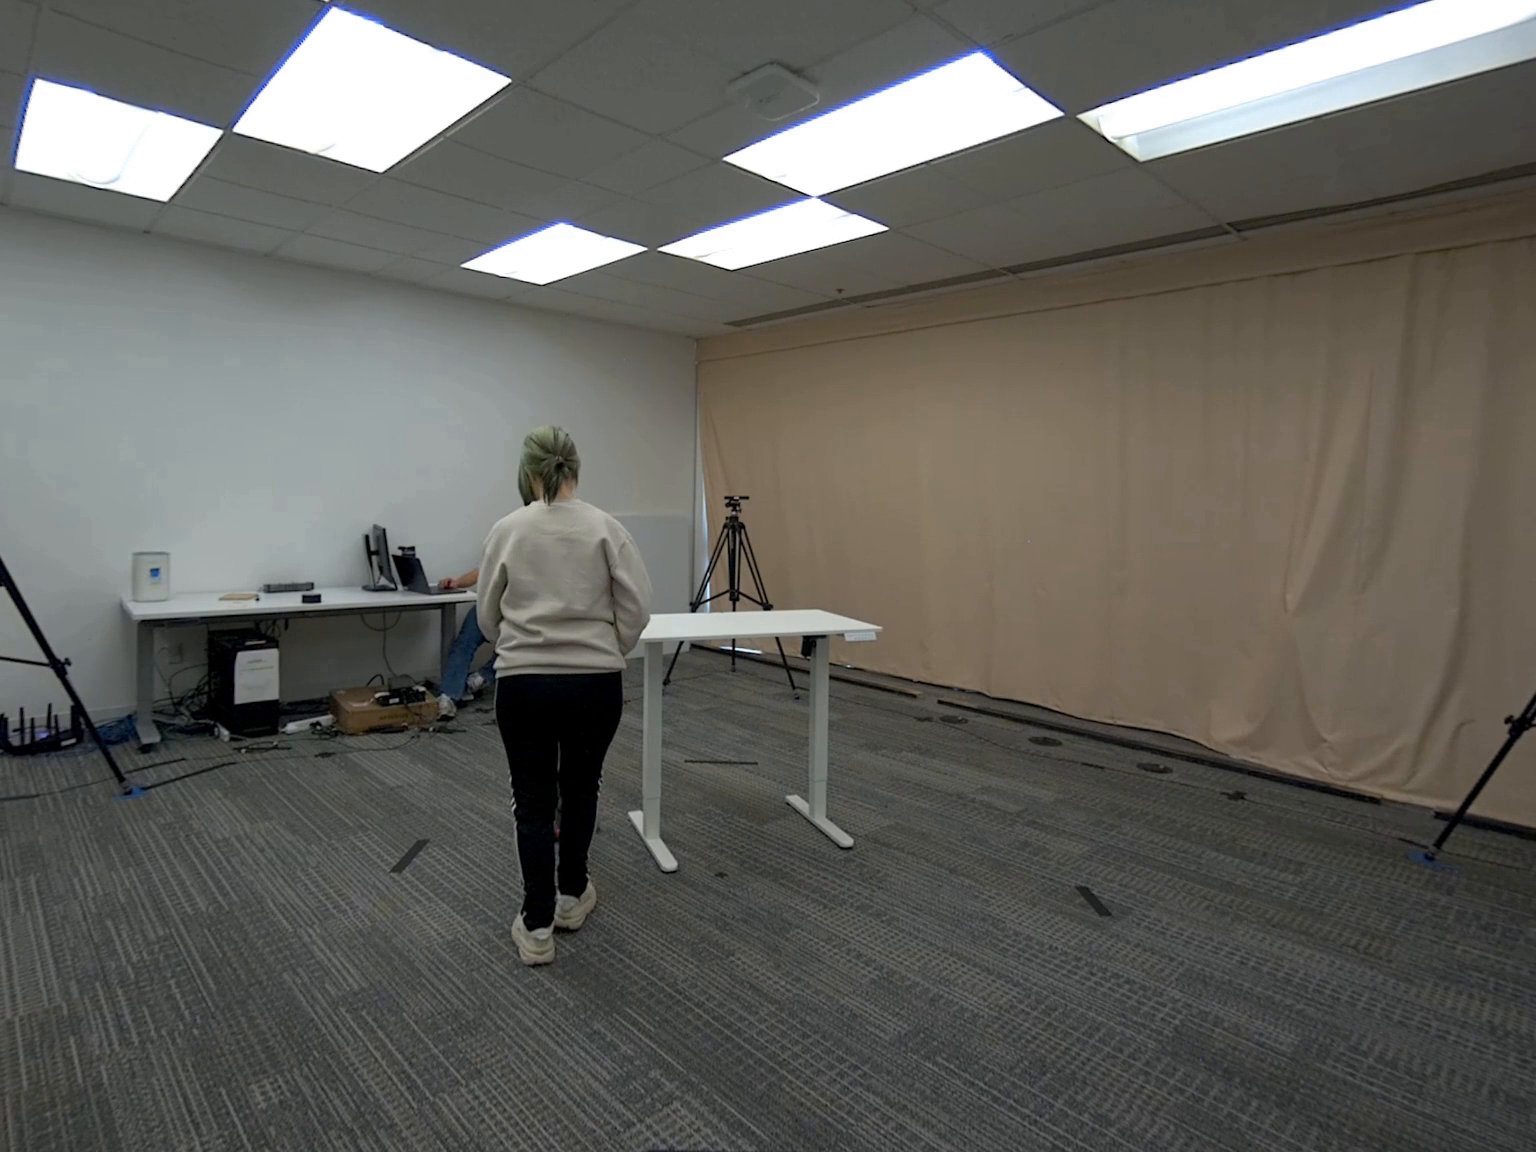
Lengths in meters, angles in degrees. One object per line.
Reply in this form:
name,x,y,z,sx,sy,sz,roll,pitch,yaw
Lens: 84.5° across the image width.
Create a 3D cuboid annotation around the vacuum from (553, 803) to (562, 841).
vacuum,-0.758,0.685,3.085,0.250,1.031,0.148,-3,45,-15
